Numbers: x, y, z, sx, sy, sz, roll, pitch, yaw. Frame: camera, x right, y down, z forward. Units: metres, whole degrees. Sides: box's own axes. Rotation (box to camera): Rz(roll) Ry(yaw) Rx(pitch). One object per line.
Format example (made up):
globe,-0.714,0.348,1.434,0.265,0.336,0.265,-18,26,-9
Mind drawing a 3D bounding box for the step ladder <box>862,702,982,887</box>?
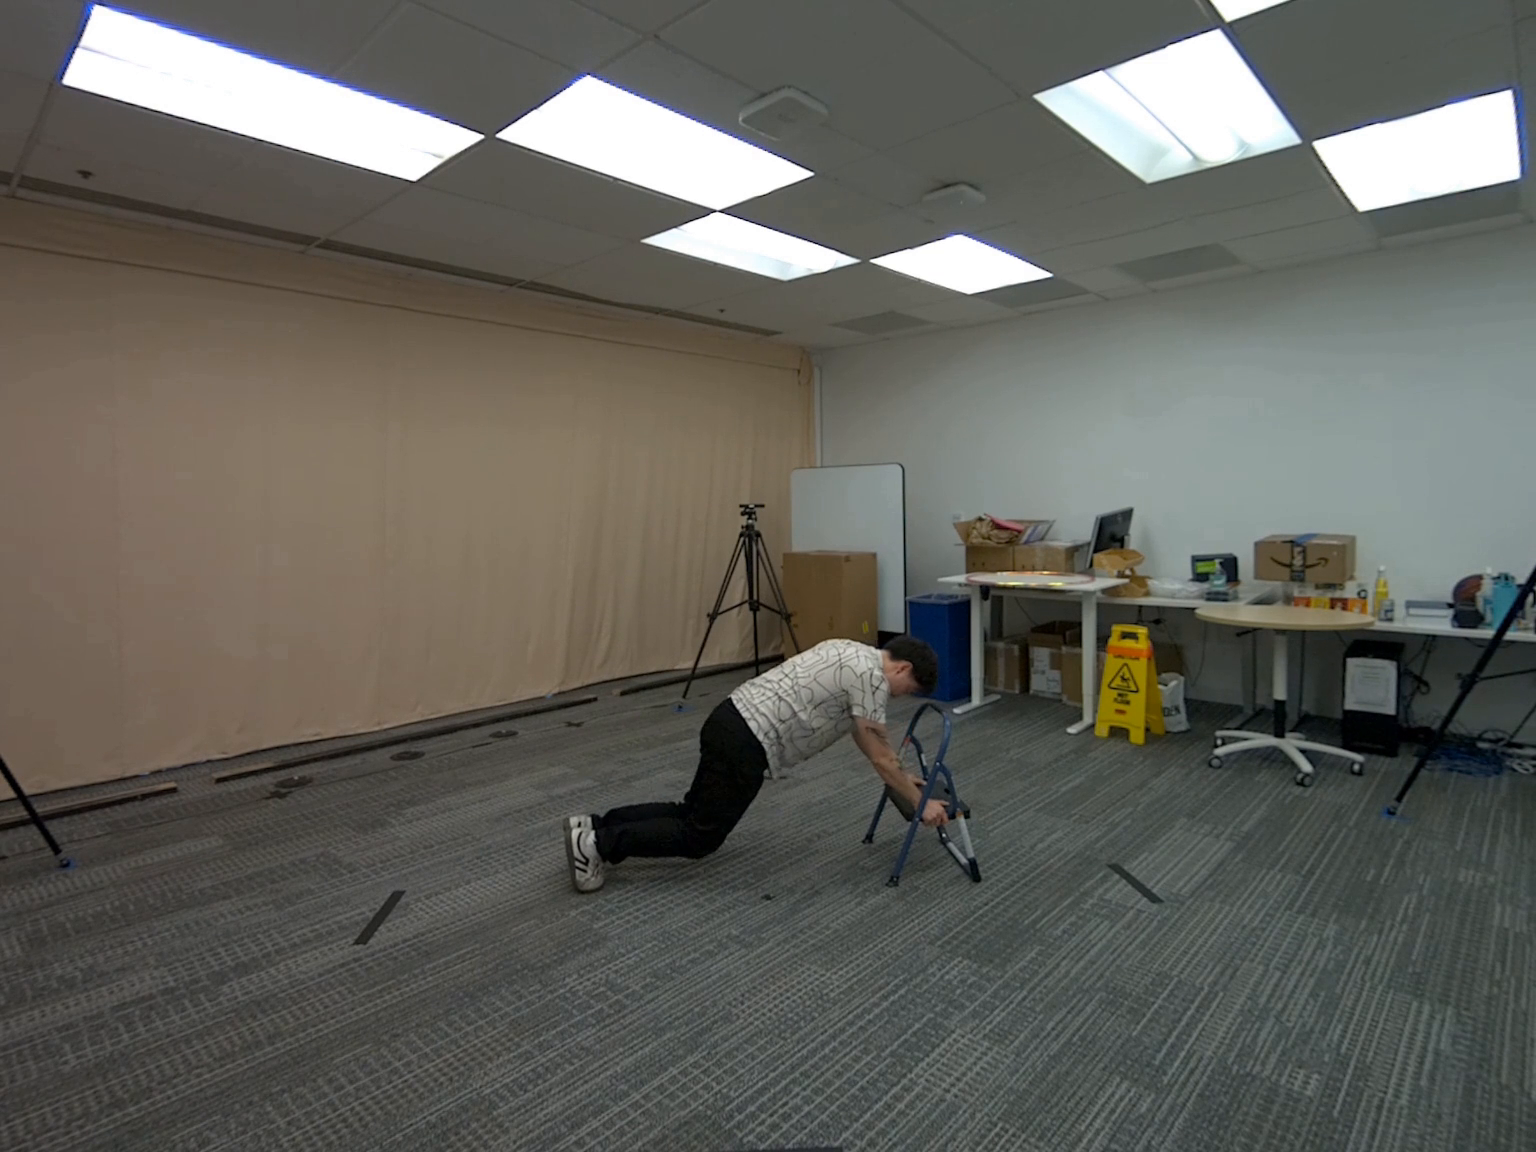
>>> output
step ladder,0.587,0.807,3.249,0.348,0.605,0.434,-2,3,-5
